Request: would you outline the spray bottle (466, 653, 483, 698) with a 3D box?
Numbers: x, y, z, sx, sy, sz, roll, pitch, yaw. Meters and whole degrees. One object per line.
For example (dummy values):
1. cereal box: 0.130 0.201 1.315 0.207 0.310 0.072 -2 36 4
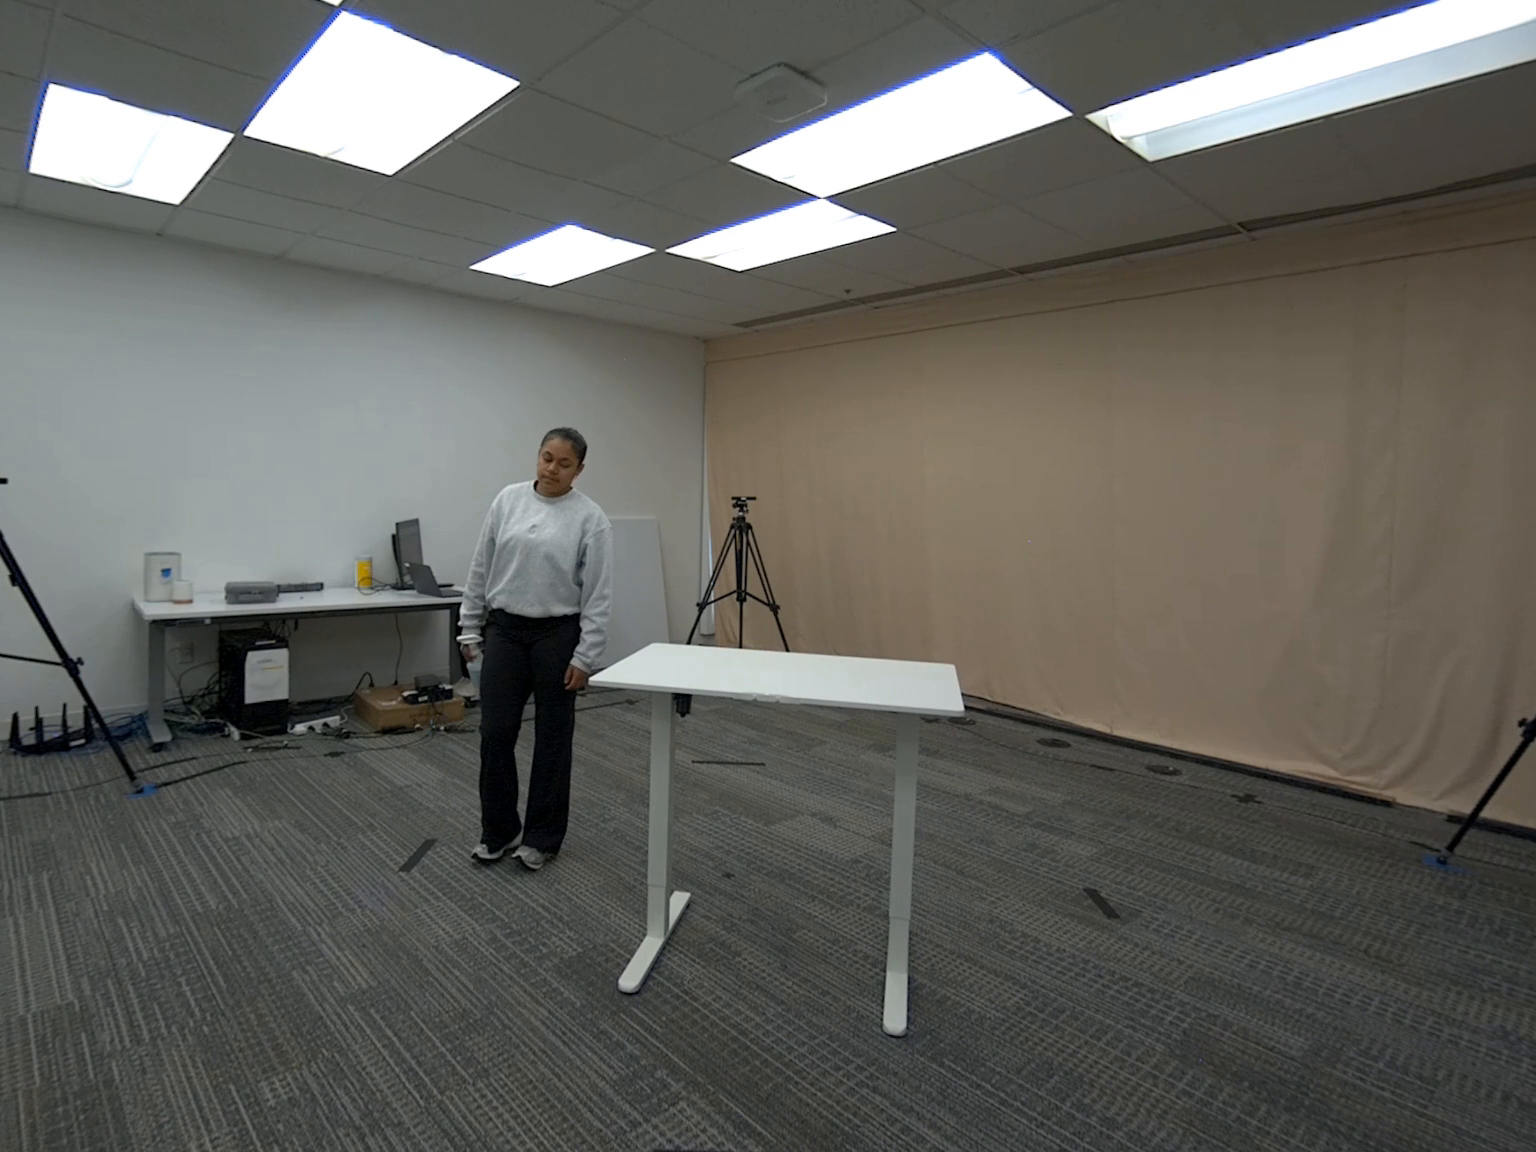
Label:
1. spray bottle: -1.135 0.348 3.285 0.091 0.291 0.088 3 32 10
